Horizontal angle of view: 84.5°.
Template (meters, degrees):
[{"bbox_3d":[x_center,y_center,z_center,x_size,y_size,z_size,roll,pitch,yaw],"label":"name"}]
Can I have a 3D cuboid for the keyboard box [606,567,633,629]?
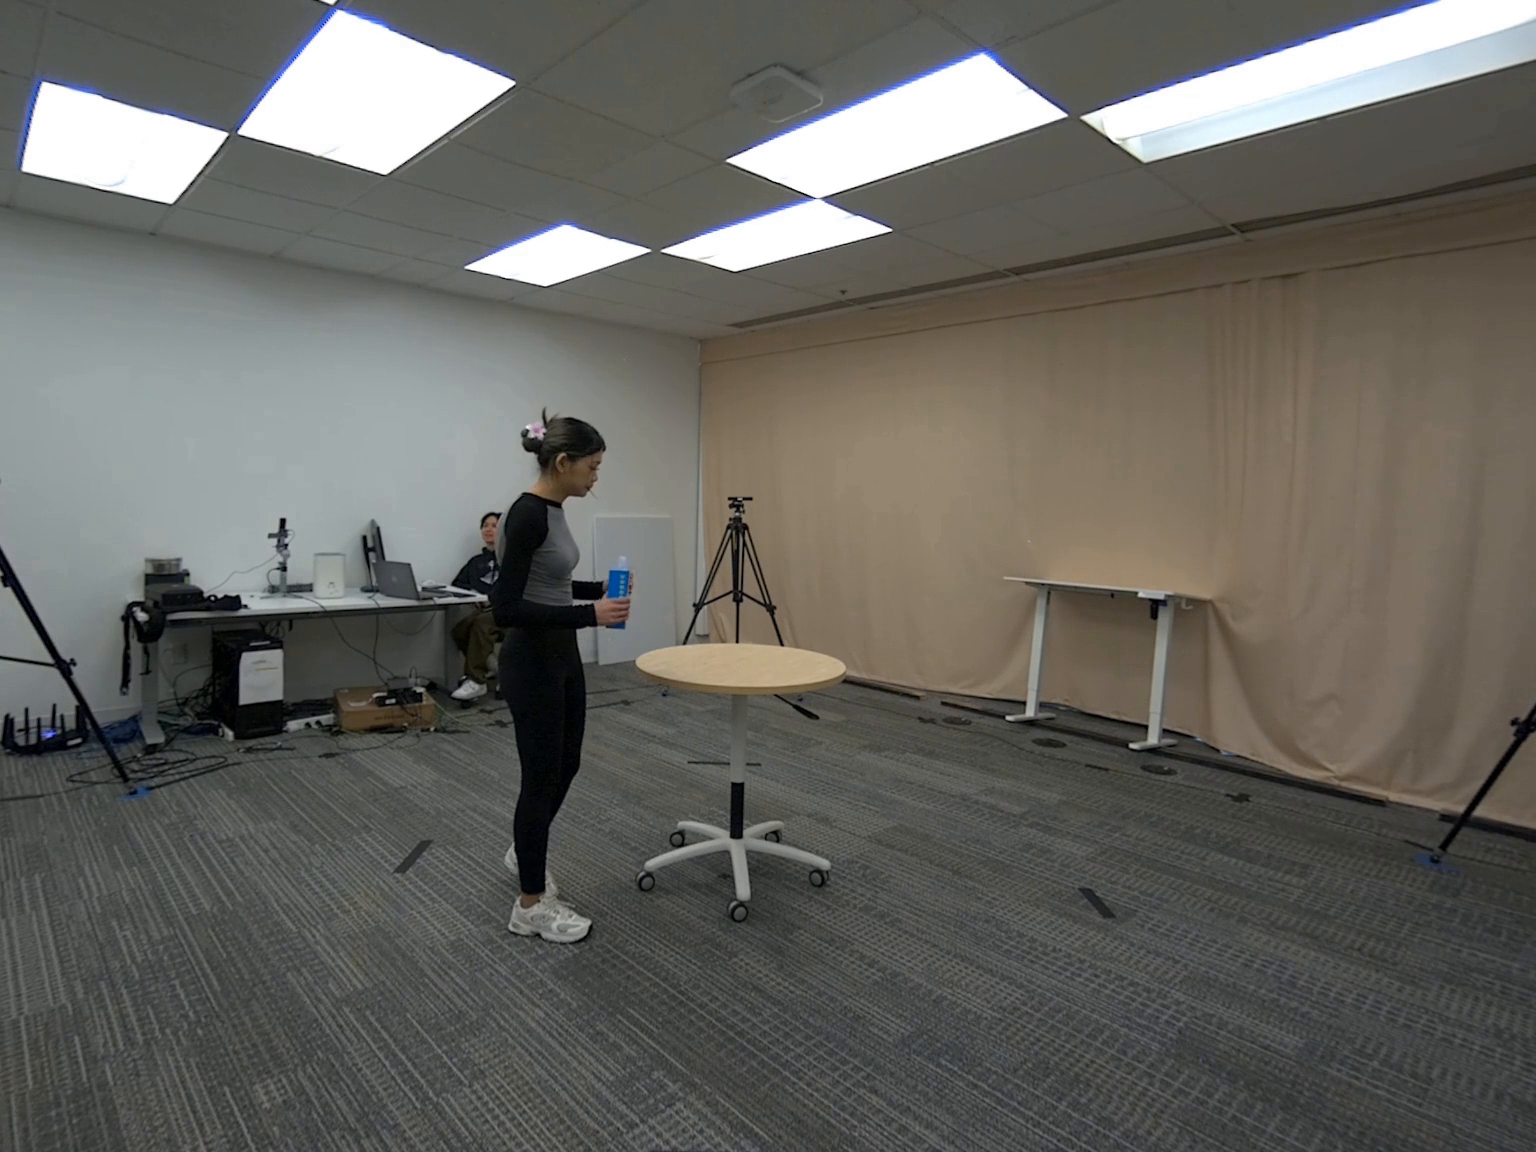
[{"bbox_3d":[-0.477,0.056,2.654,0.059,0.176,0.440,5,2,-8],"label":"keyboard box"}]
